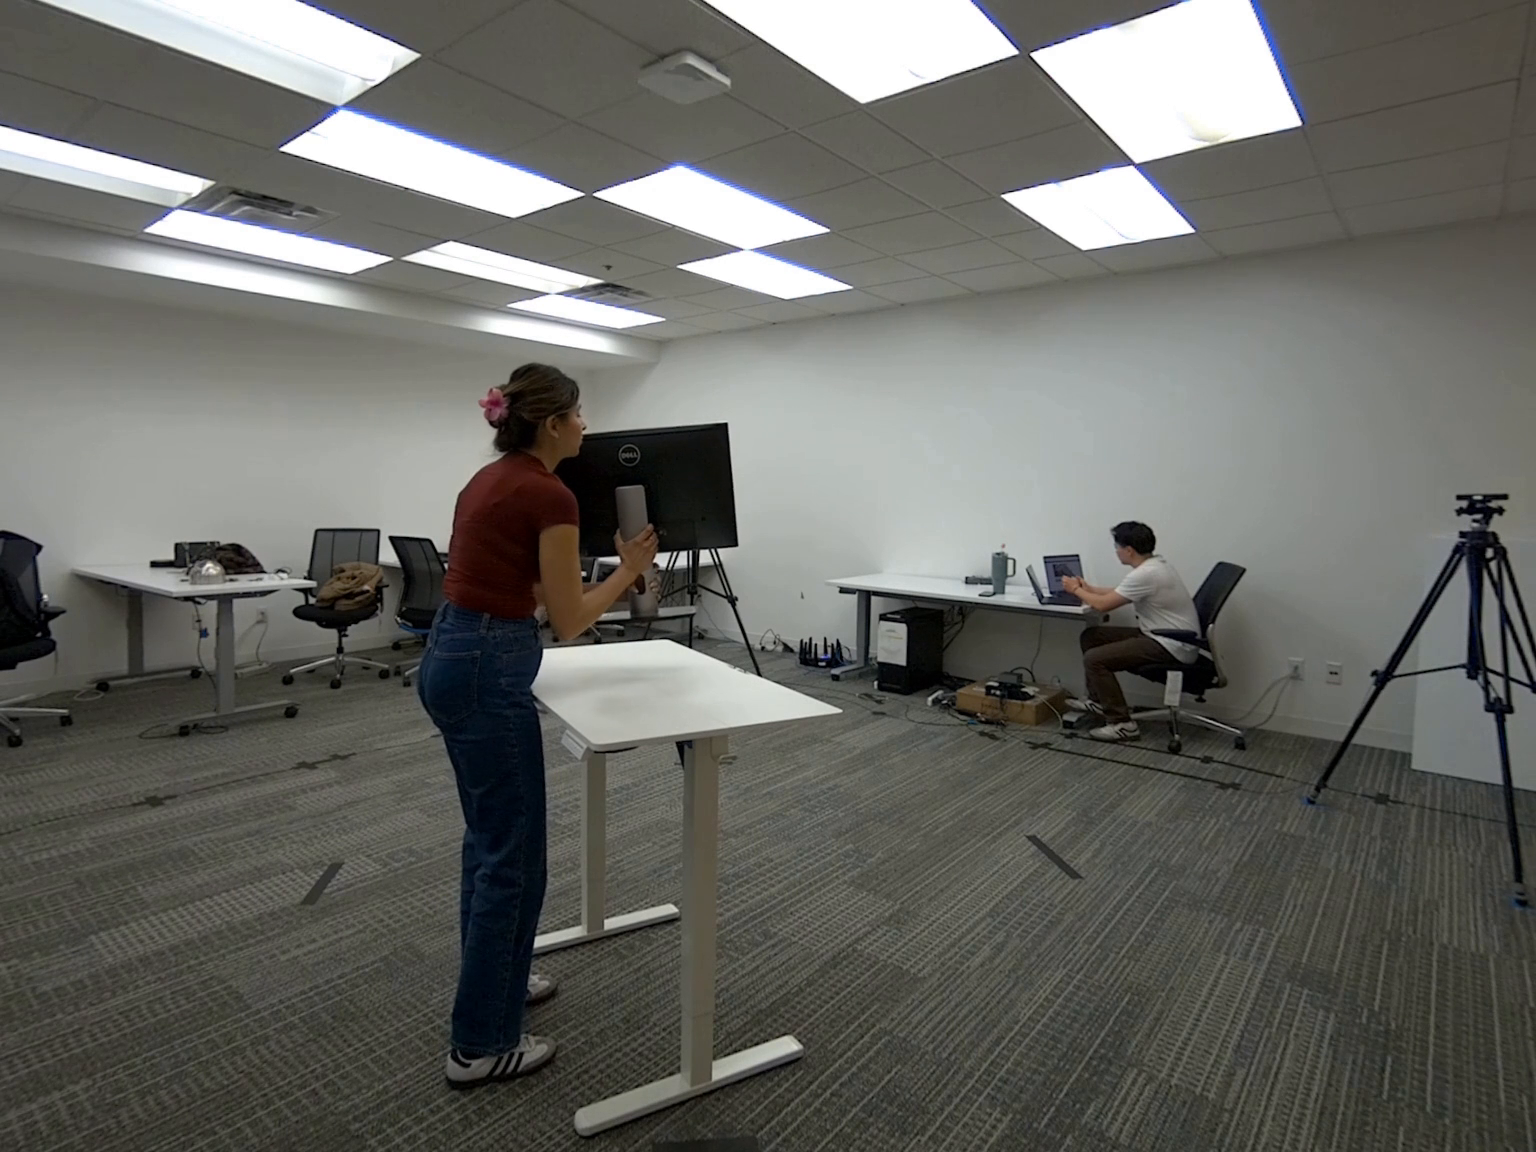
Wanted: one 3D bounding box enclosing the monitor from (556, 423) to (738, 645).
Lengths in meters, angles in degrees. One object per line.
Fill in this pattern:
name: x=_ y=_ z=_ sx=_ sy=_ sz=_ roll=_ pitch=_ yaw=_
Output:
monitor: x=-0.362 y=-0.133 z=2.299 sx=0.540 sy=0.519 sz=0.188 roll=-5 pitch=5 yaw=2
